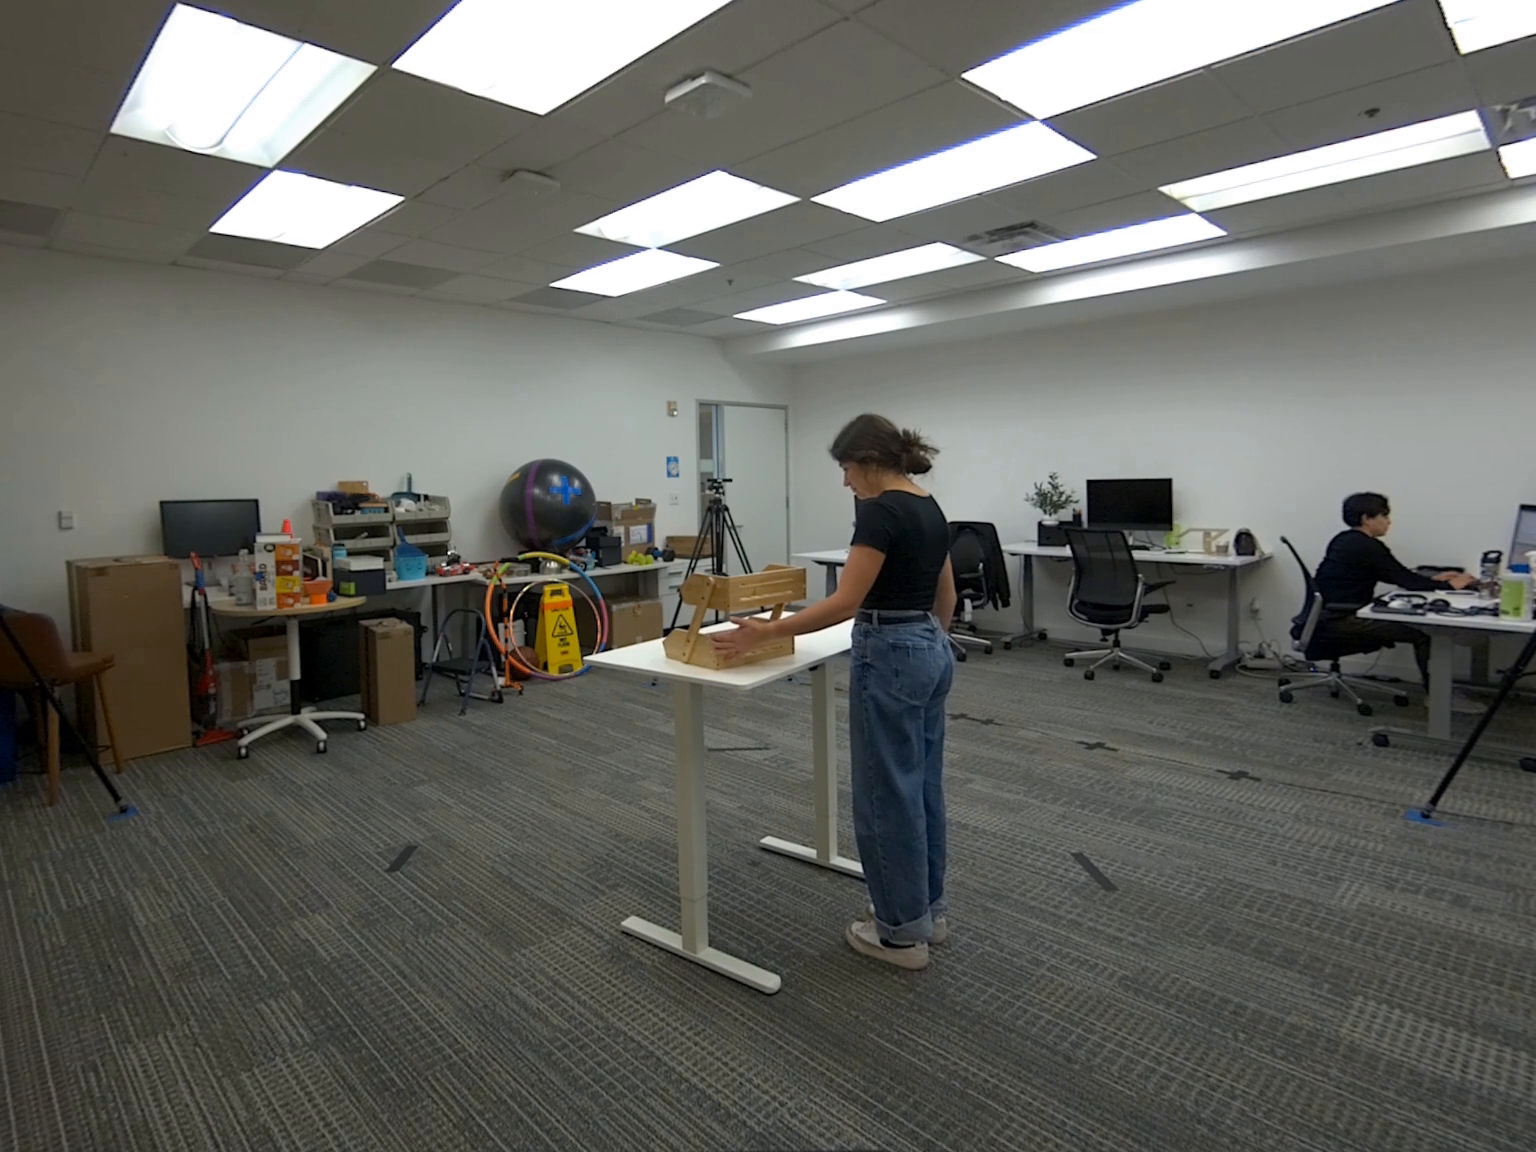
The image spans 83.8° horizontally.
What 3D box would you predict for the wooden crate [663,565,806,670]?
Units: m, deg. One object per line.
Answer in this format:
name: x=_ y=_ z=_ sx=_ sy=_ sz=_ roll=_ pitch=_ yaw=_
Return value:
wooden crate: x=-0.095 y=0.102 z=2.484 sx=0.316 sy=0.272 sz=0.311 roll=-7 pitch=8 yaw=-41
